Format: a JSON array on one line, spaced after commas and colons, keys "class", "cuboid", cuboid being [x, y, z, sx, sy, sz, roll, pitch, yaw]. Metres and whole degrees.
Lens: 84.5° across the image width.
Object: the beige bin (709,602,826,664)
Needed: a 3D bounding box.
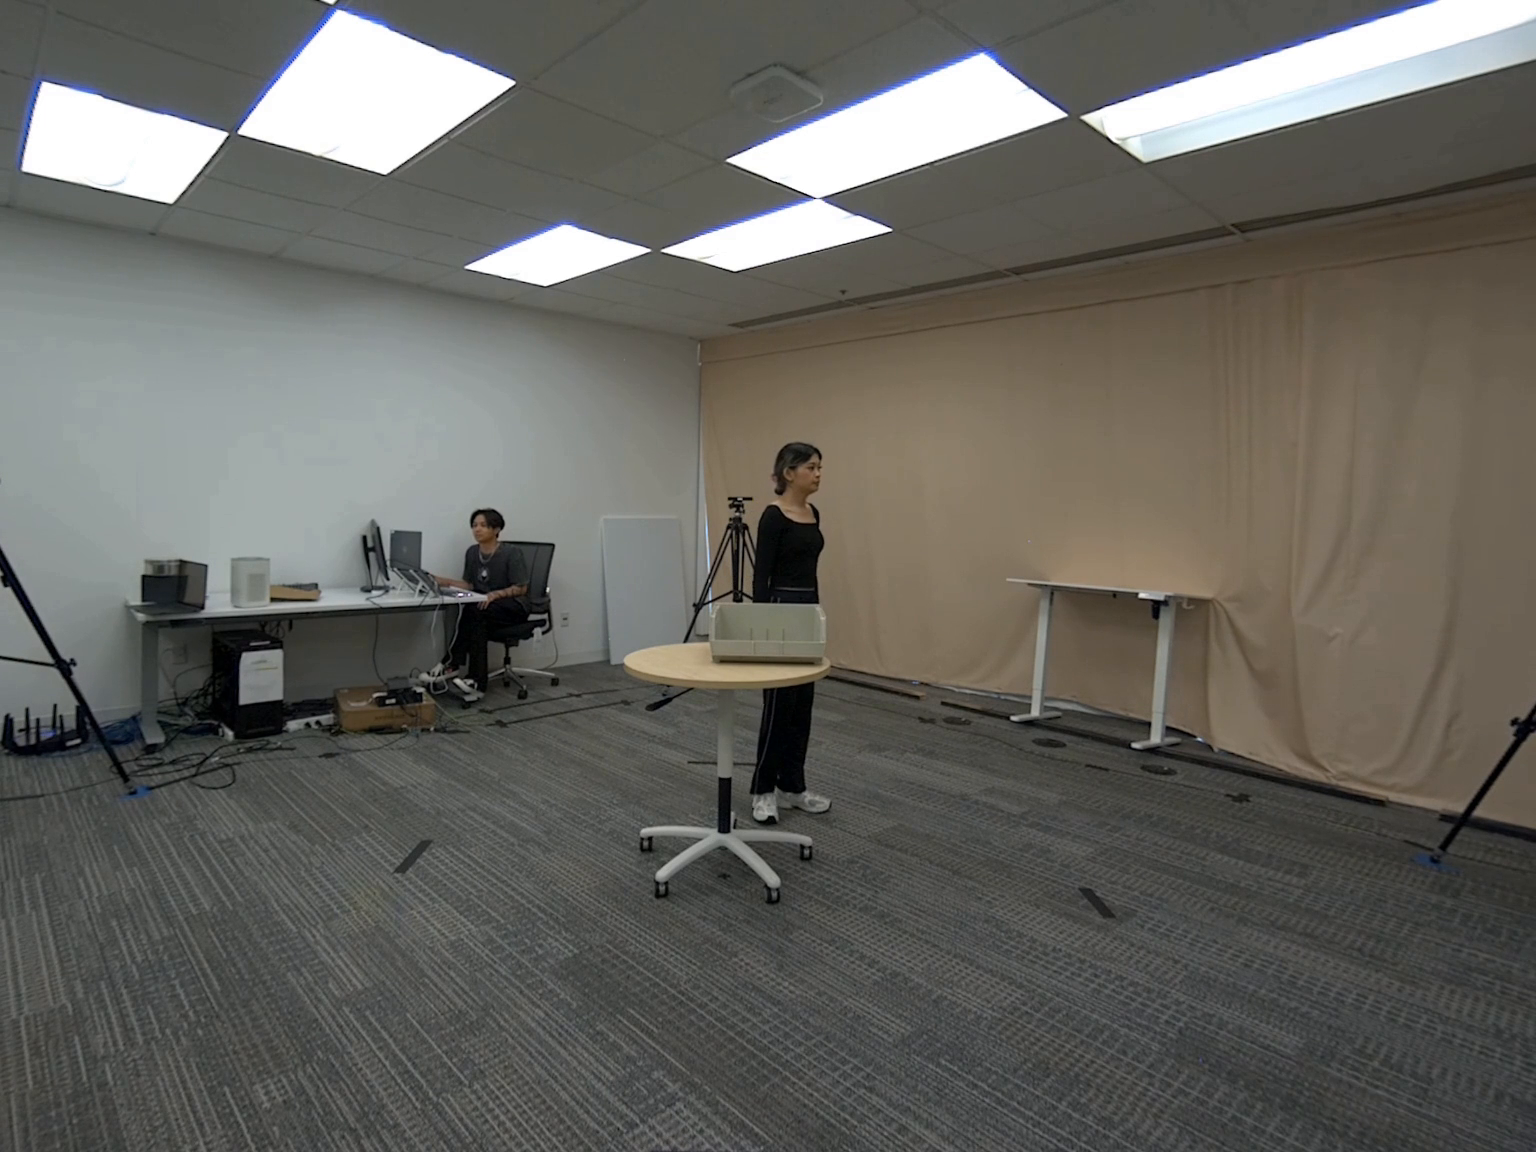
[{"class": "beige bin", "cuboid": [-0.006, 0.222, 3.189, 0.423, 0.188, 0.378, 0, 4, 1]}]
